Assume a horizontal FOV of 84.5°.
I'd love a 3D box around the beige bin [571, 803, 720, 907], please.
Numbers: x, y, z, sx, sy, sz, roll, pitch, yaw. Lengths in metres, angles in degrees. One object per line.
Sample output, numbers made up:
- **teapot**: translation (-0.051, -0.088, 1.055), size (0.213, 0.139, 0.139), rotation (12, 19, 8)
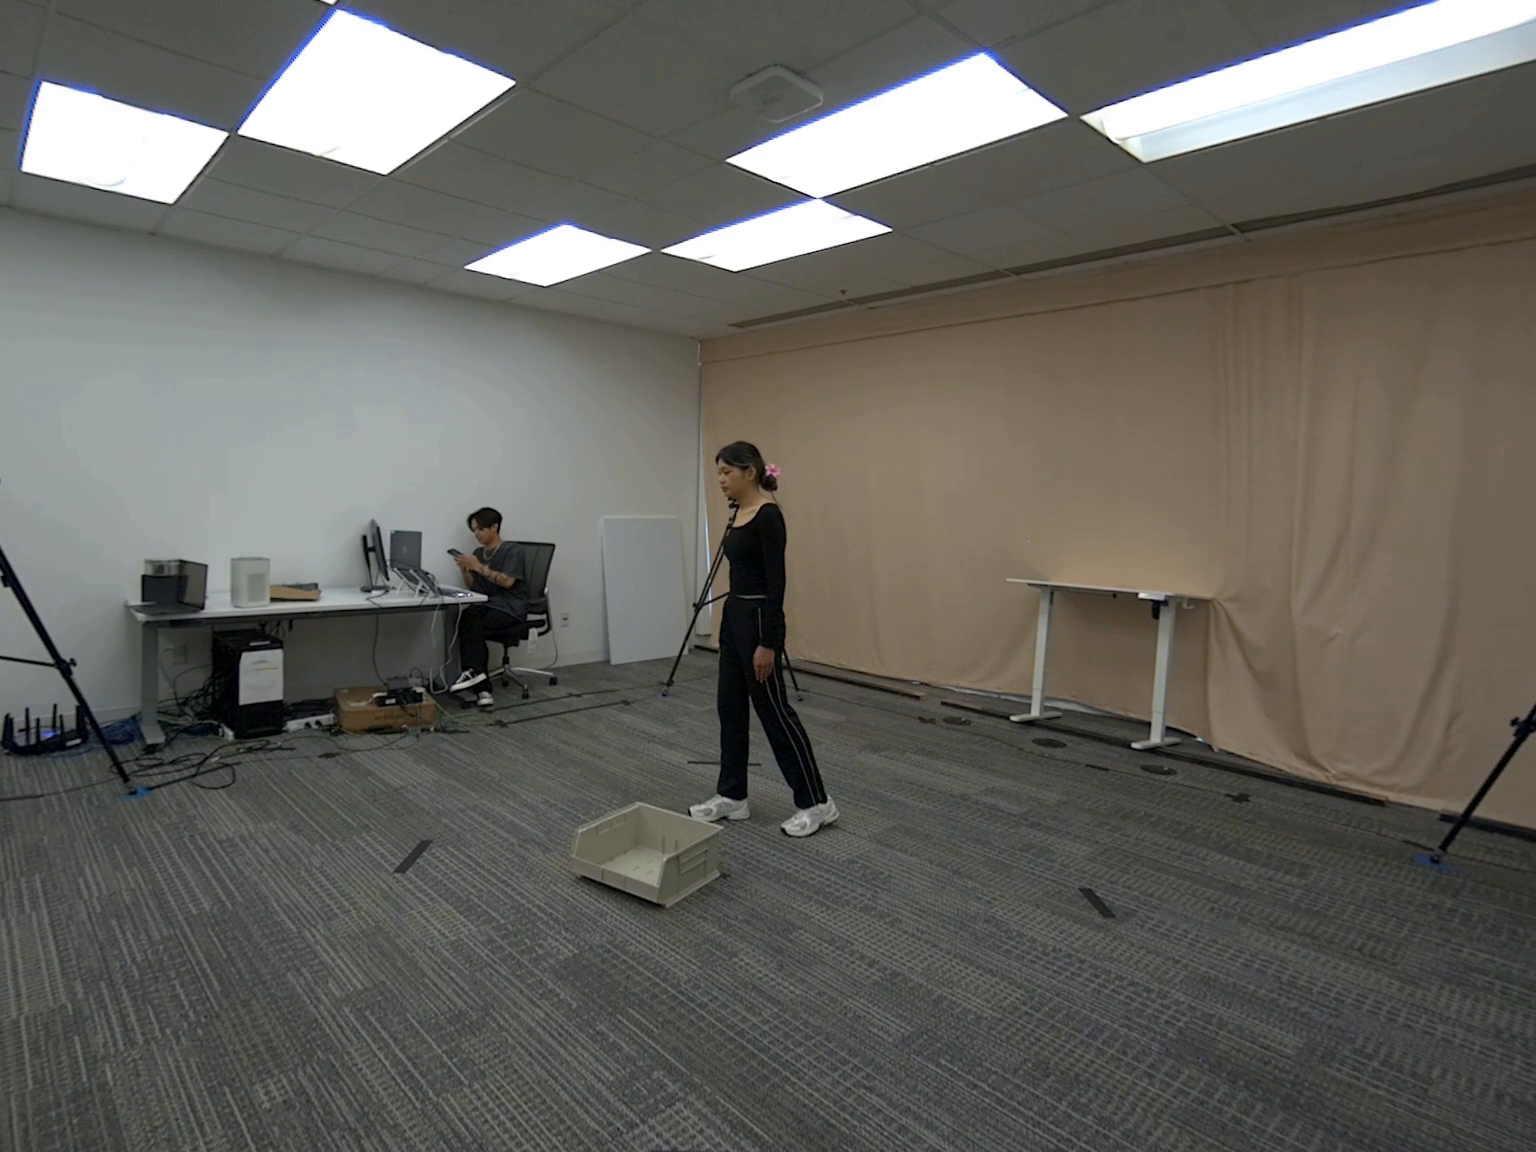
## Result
- **beige bin**: translation (-0.449, 1.017, 3.072), size (0.432, 0.188, 0.369), rotation (4, 4, 33)
